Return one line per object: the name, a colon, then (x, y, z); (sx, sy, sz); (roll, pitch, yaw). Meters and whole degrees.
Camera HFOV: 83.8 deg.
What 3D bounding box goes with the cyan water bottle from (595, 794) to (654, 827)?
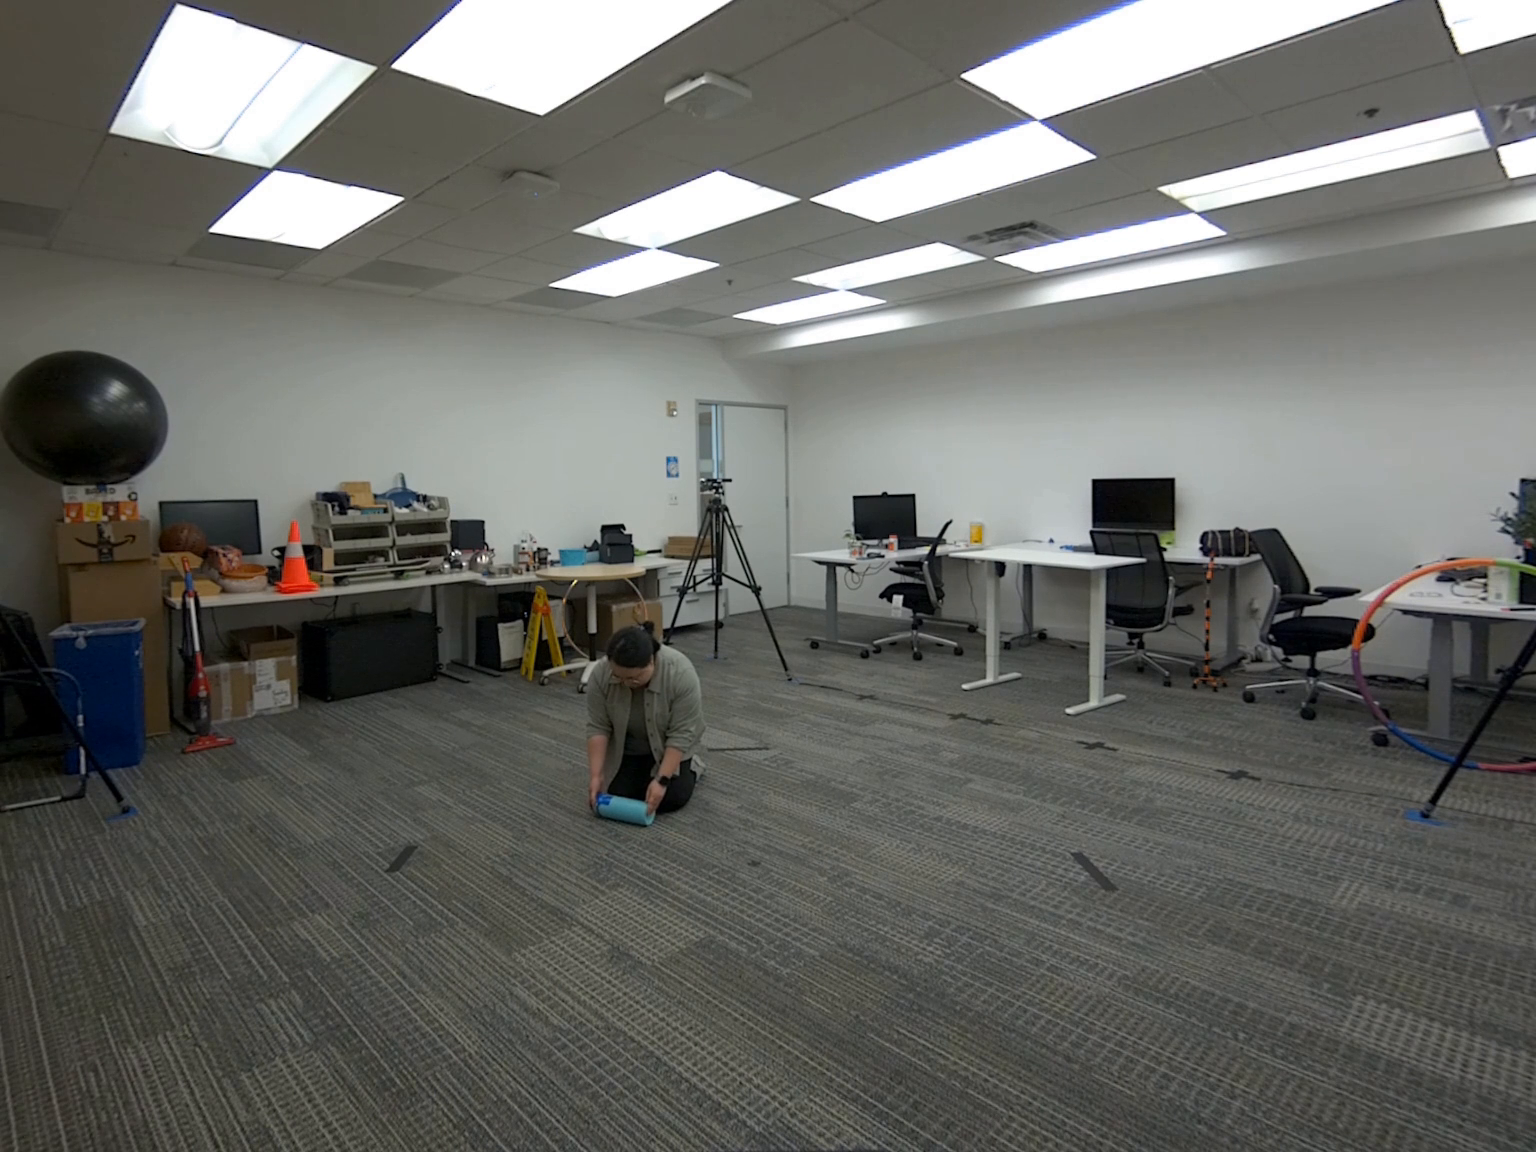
cyan water bottle: (-0.612, 0.967, 3.528); (0.290, 0.092, 0.091); (4, 6, 23)
